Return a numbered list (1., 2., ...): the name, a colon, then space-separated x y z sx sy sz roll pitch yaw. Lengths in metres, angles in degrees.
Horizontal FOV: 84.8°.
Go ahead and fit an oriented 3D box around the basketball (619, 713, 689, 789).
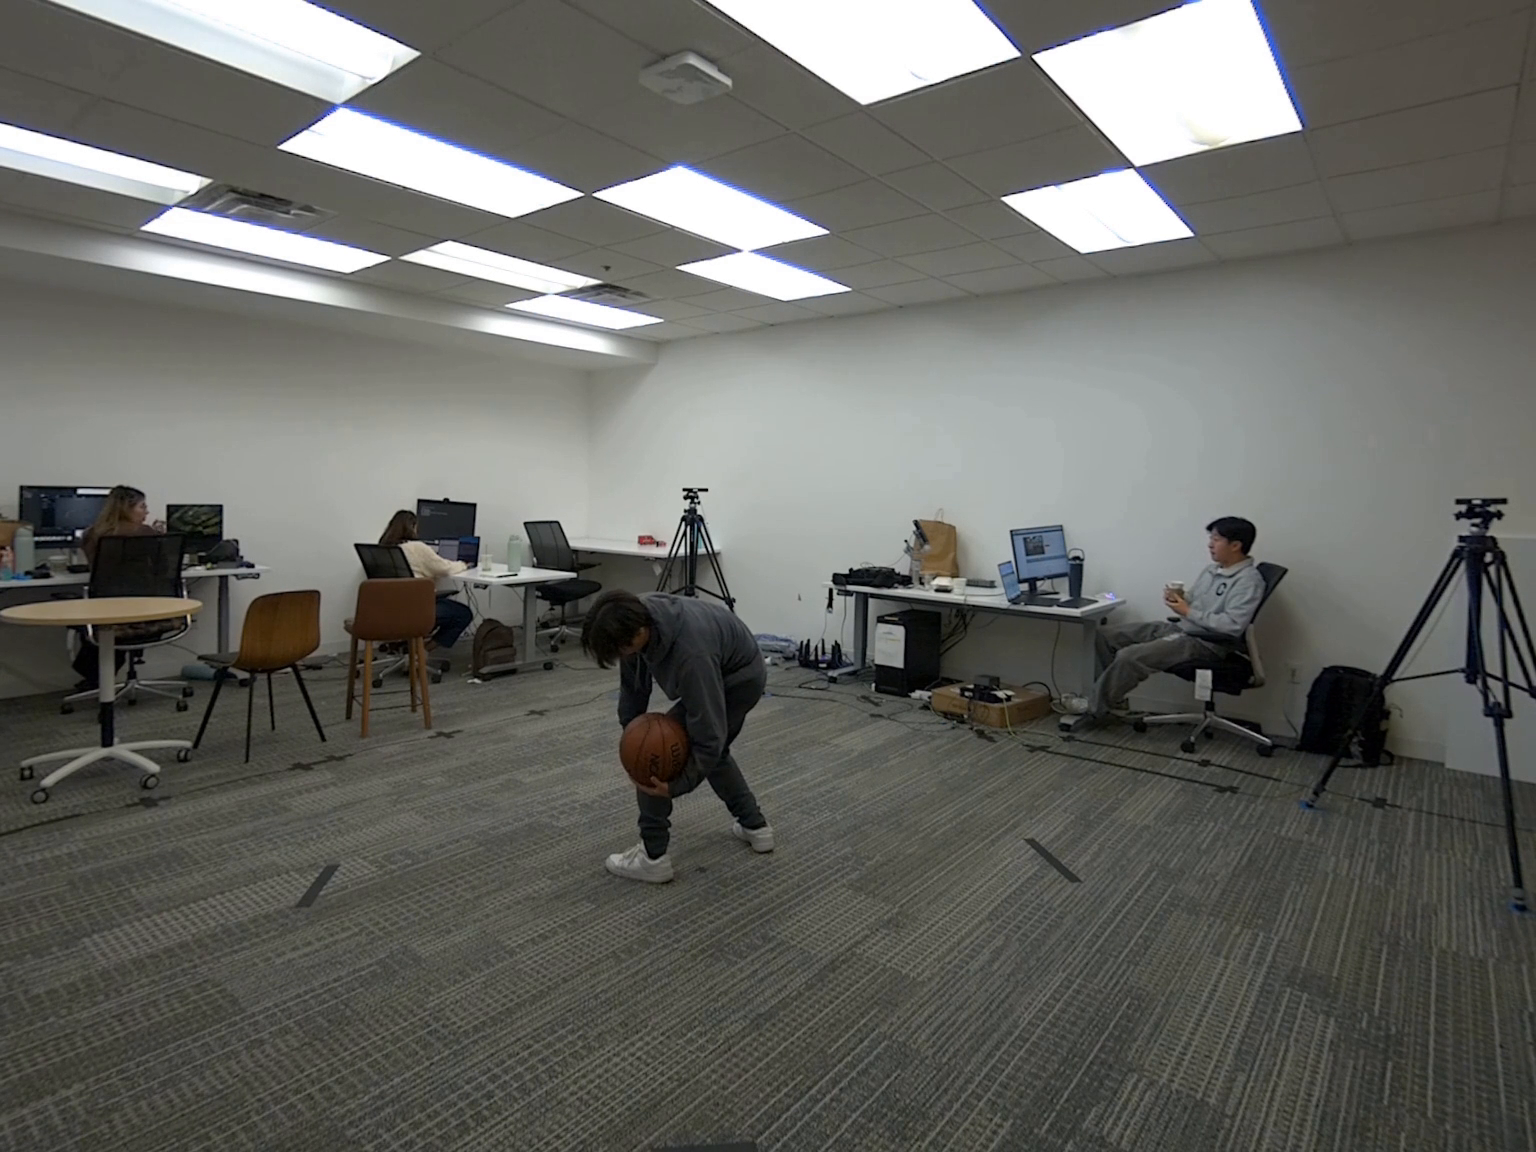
1. basketball: -0.404 0.581 2.911 0.235 0.235 0.237 1 4 -2
